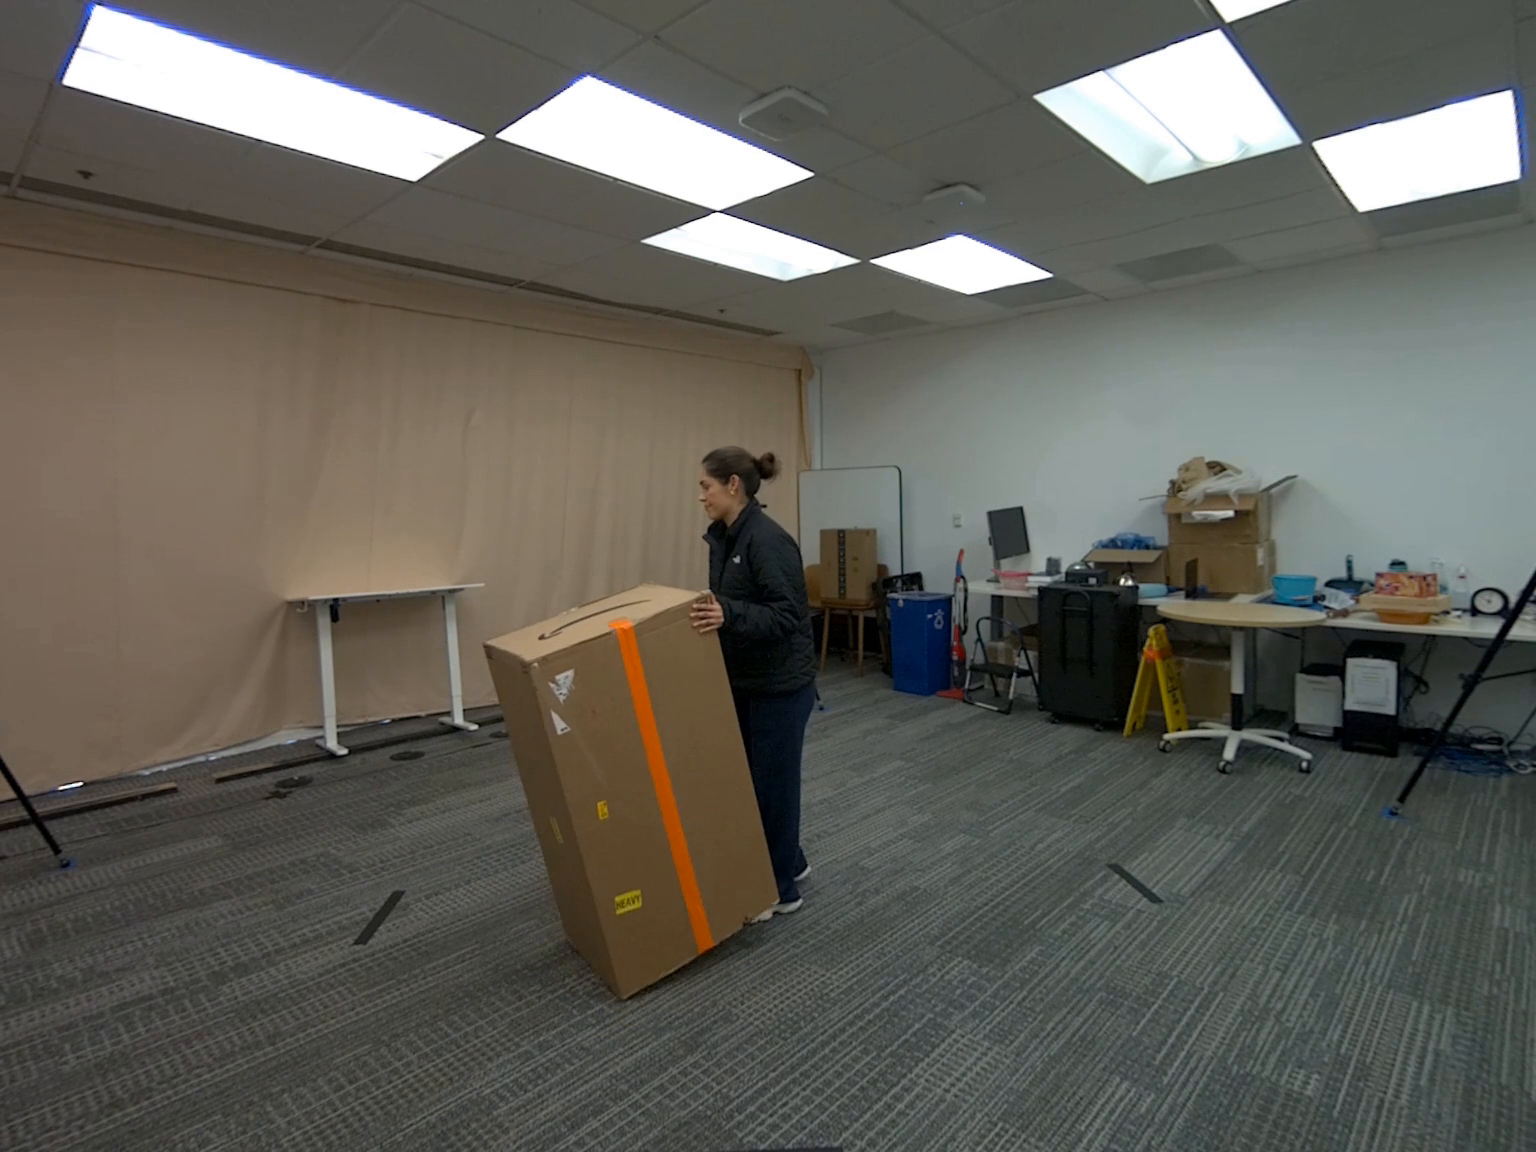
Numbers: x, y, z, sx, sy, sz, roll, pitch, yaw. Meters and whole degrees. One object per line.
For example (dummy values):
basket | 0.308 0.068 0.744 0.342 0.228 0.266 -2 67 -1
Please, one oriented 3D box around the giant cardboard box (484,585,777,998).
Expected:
giant cardboard box | -0.399 0.614 2.597 0.565 1.017 0.439 -19 12 -31
